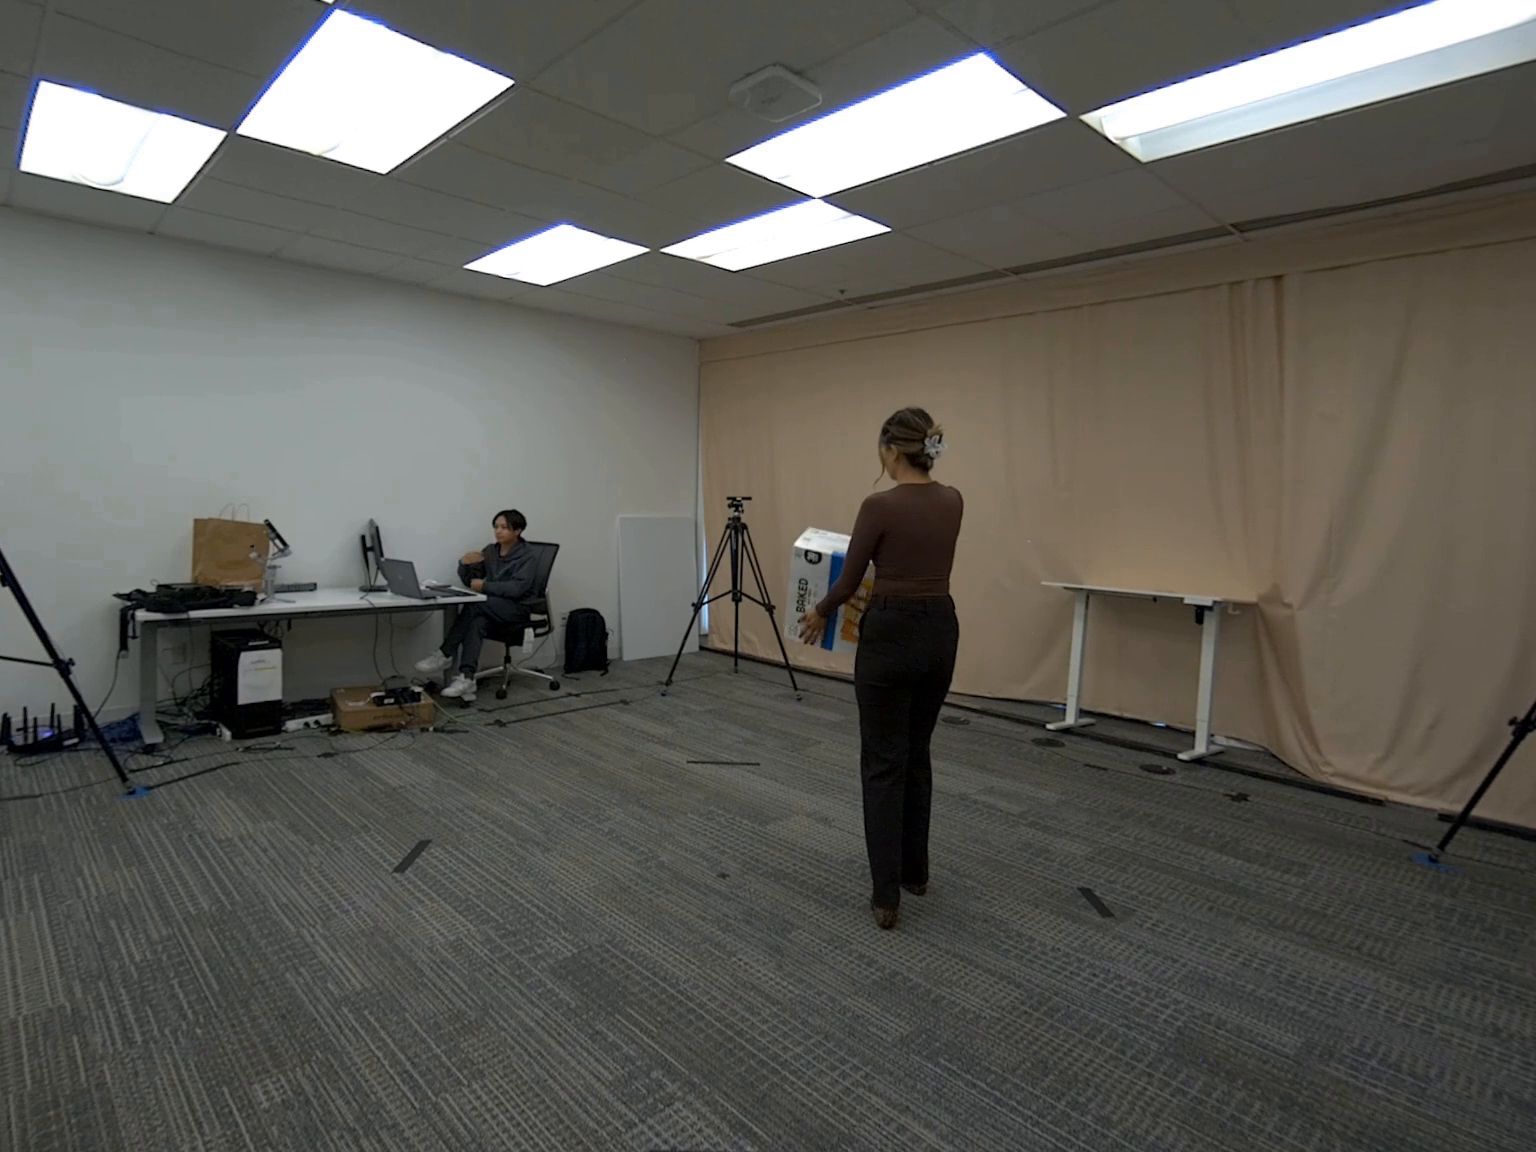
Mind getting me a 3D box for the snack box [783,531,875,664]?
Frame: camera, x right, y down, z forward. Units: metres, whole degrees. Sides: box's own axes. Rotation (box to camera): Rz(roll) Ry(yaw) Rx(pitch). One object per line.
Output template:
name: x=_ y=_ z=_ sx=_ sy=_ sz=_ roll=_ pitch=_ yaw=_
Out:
snack box: x=0.269 y=0.083 z=3.234 sx=0.346 sy=0.399 sz=0.205 roll=13 pitch=26 yaw=19
